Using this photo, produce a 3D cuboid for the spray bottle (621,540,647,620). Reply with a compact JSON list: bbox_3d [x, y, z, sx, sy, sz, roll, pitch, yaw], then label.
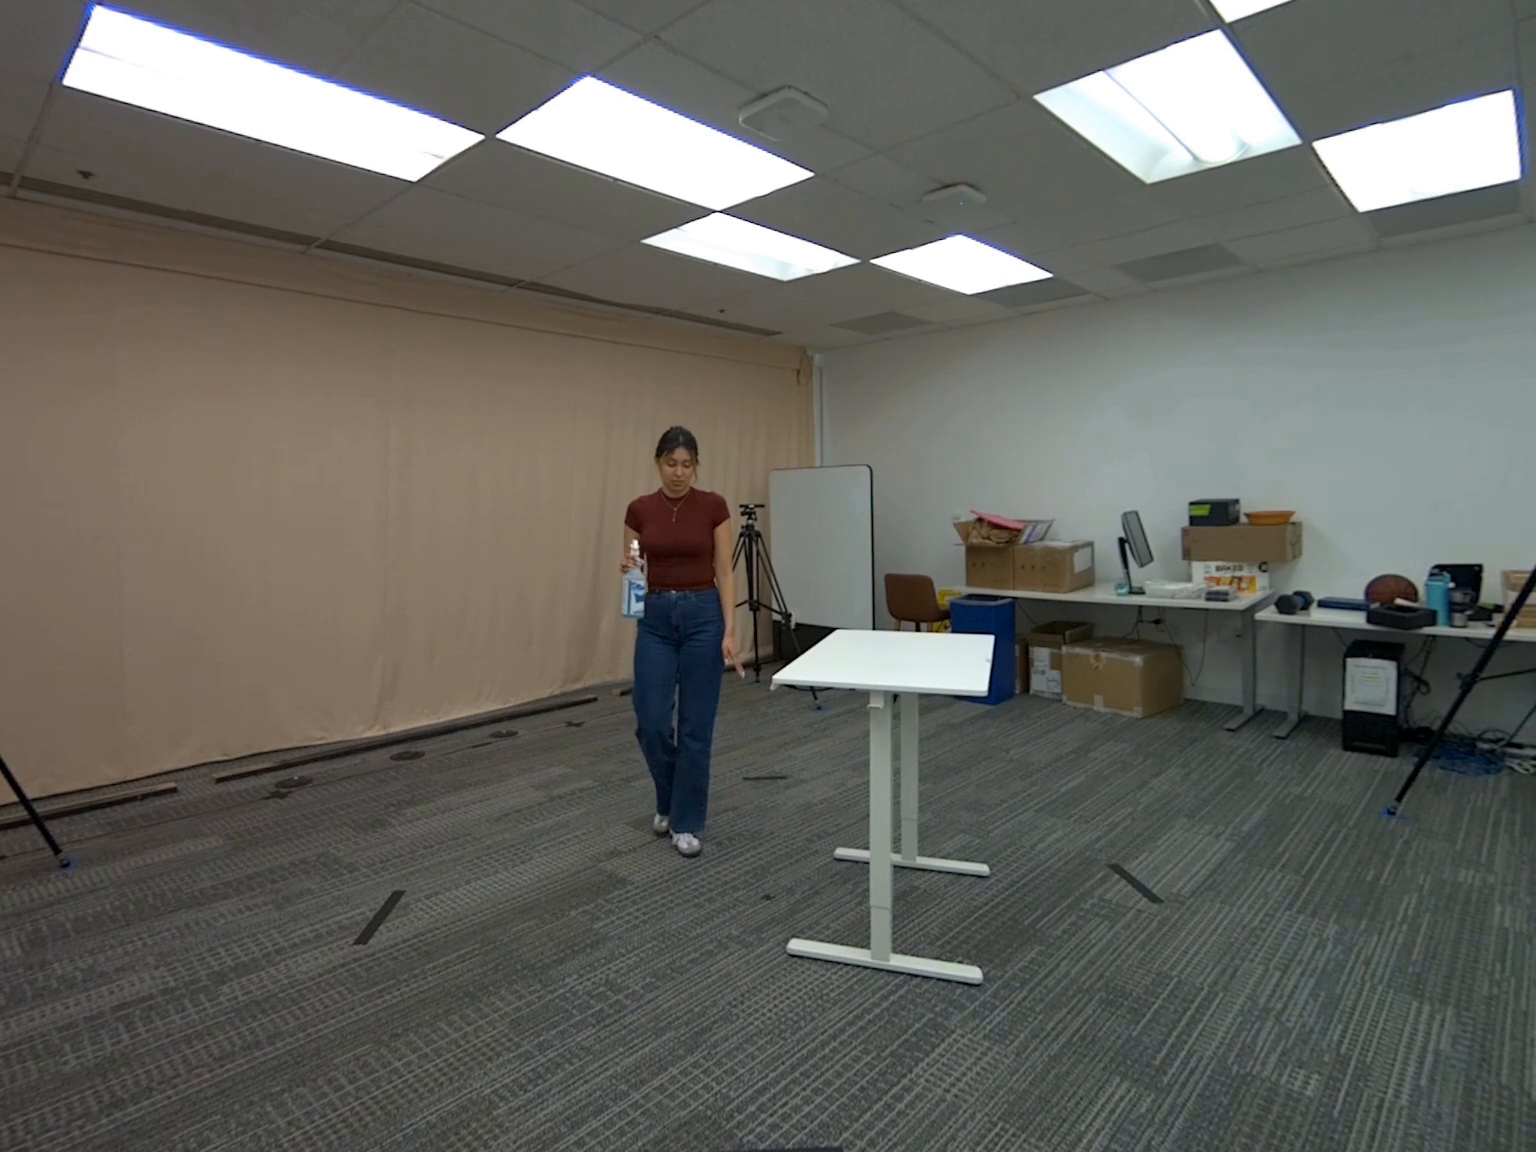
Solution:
[{"bbox_3d":[-0.508,0.013,3.226,0.088,0.297,0.088,4,0,14],"label":"spray bottle"}]
